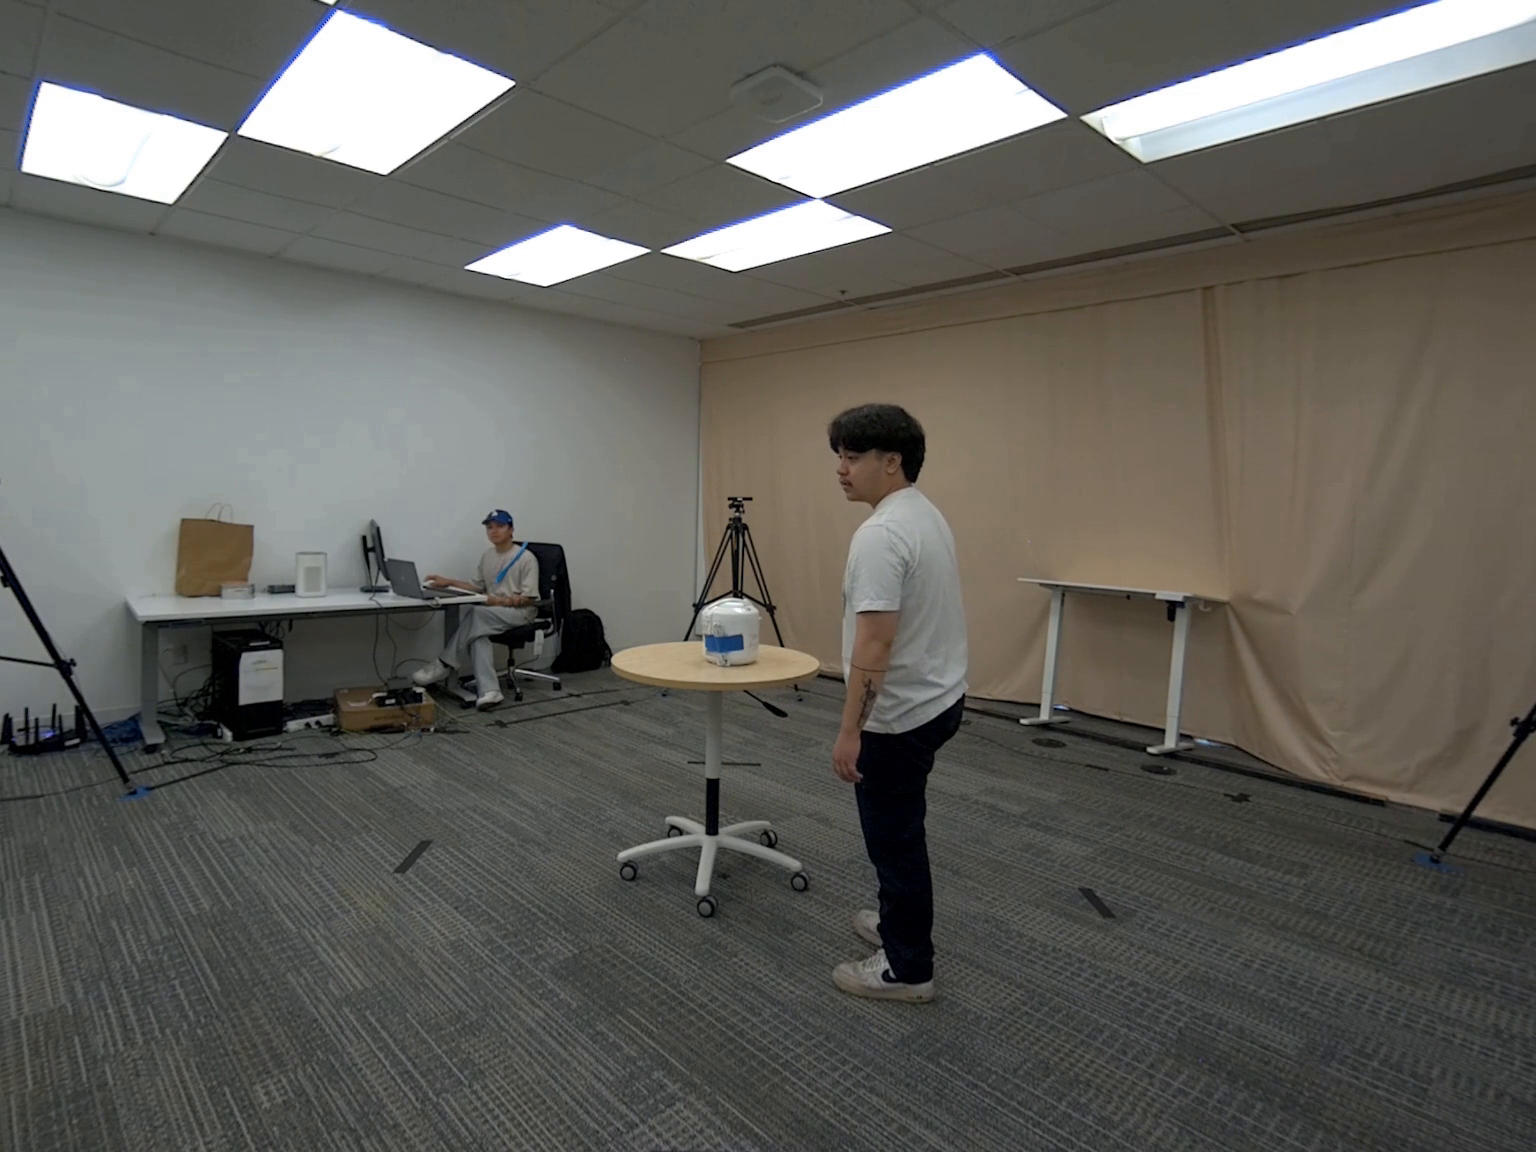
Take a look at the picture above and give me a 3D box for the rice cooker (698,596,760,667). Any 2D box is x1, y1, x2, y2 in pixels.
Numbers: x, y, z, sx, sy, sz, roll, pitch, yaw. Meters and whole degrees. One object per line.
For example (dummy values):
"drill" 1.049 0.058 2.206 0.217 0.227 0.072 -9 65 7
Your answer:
"rice cooker" -0.148 0.194 3.080 0.216 0.232 0.222 -2 6 -29
